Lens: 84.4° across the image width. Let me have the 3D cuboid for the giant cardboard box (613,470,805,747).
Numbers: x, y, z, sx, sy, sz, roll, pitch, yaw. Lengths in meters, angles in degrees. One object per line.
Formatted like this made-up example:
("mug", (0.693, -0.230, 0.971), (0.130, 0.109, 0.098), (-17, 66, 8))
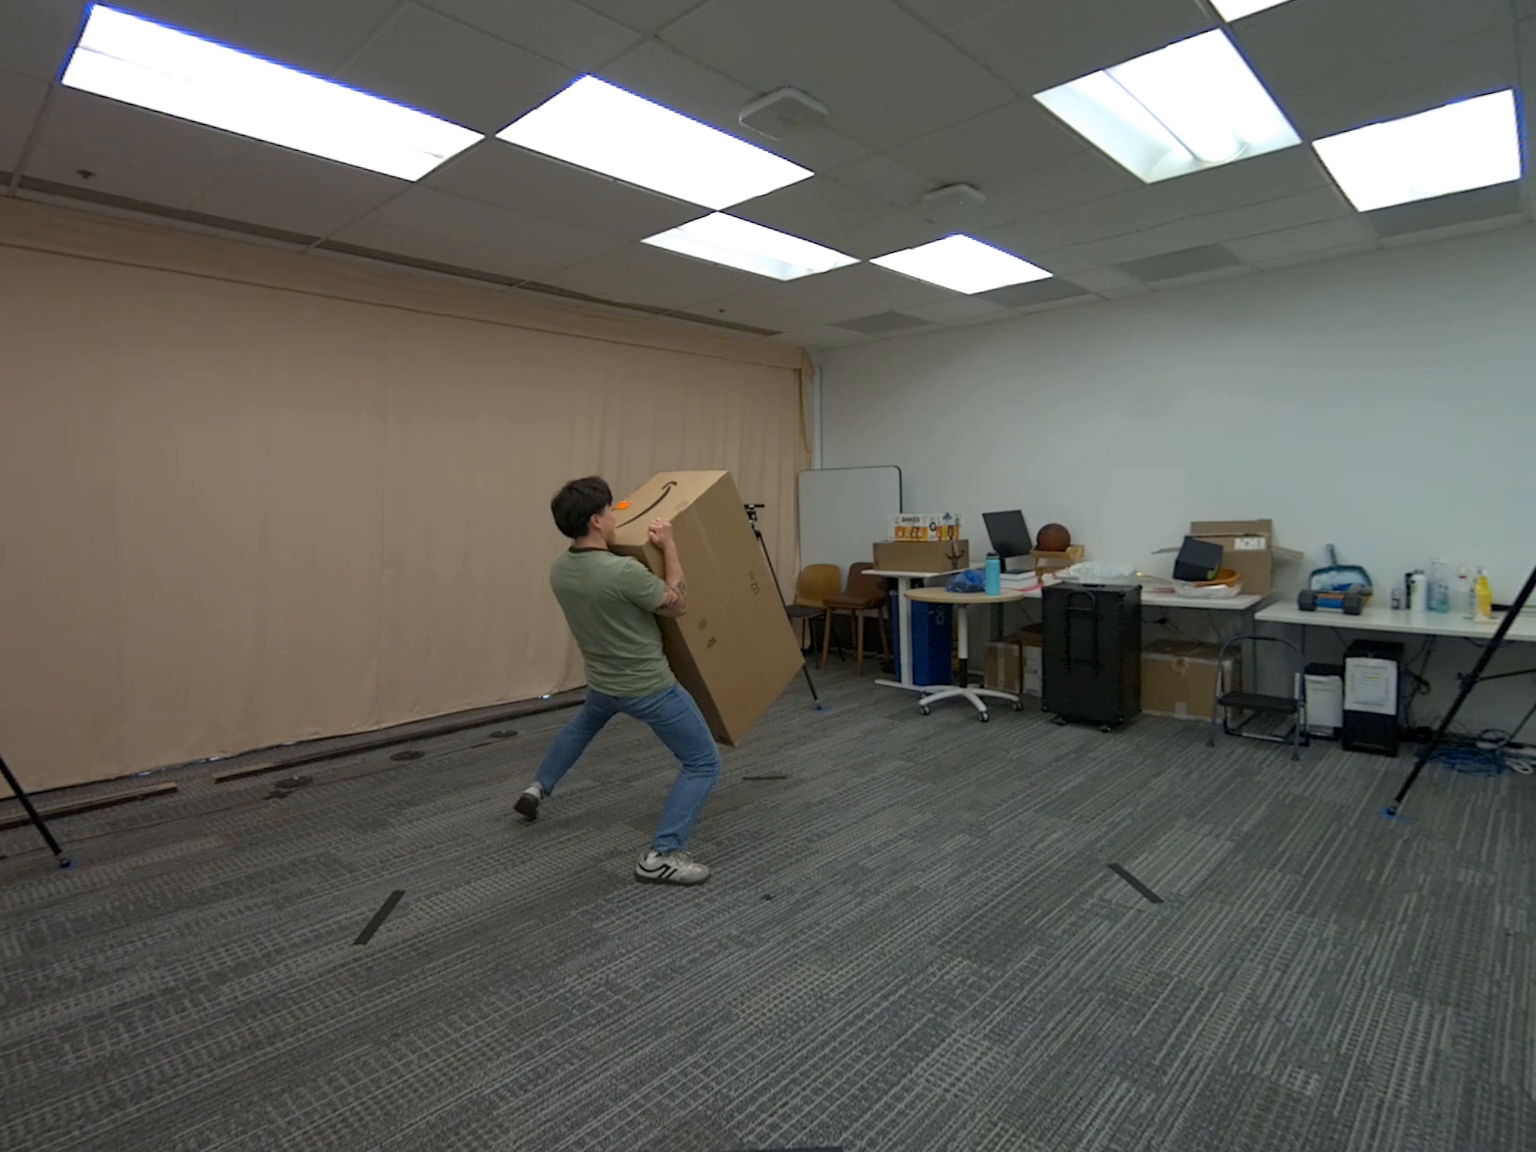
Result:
("giant cardboard box", (-0.316, 0.143, 3.641), (0.440, 1.003, 0.571), (4, 36, 41))
